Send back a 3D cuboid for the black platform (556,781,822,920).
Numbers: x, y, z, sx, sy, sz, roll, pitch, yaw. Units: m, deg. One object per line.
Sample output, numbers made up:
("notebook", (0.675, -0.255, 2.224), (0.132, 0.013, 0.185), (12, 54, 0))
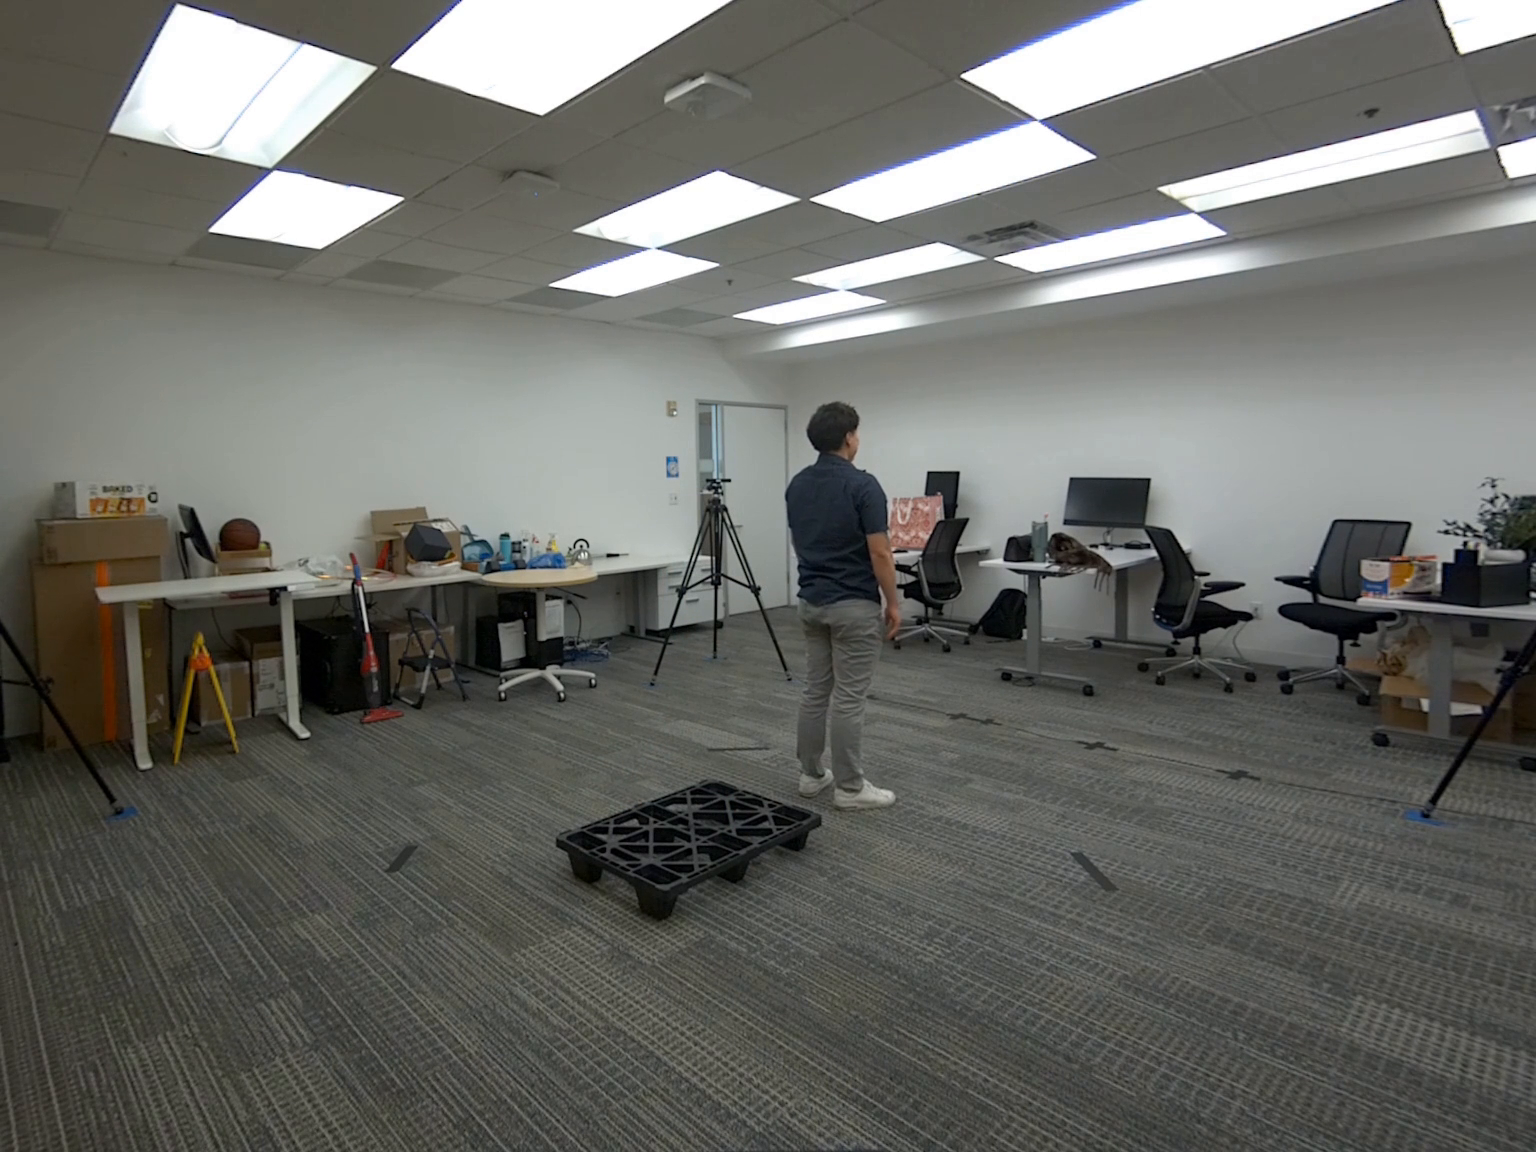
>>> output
("black platform", (-0.280, 0.979, 3.129), (0.624, 0.143, 0.785), (5, 8, 43))
